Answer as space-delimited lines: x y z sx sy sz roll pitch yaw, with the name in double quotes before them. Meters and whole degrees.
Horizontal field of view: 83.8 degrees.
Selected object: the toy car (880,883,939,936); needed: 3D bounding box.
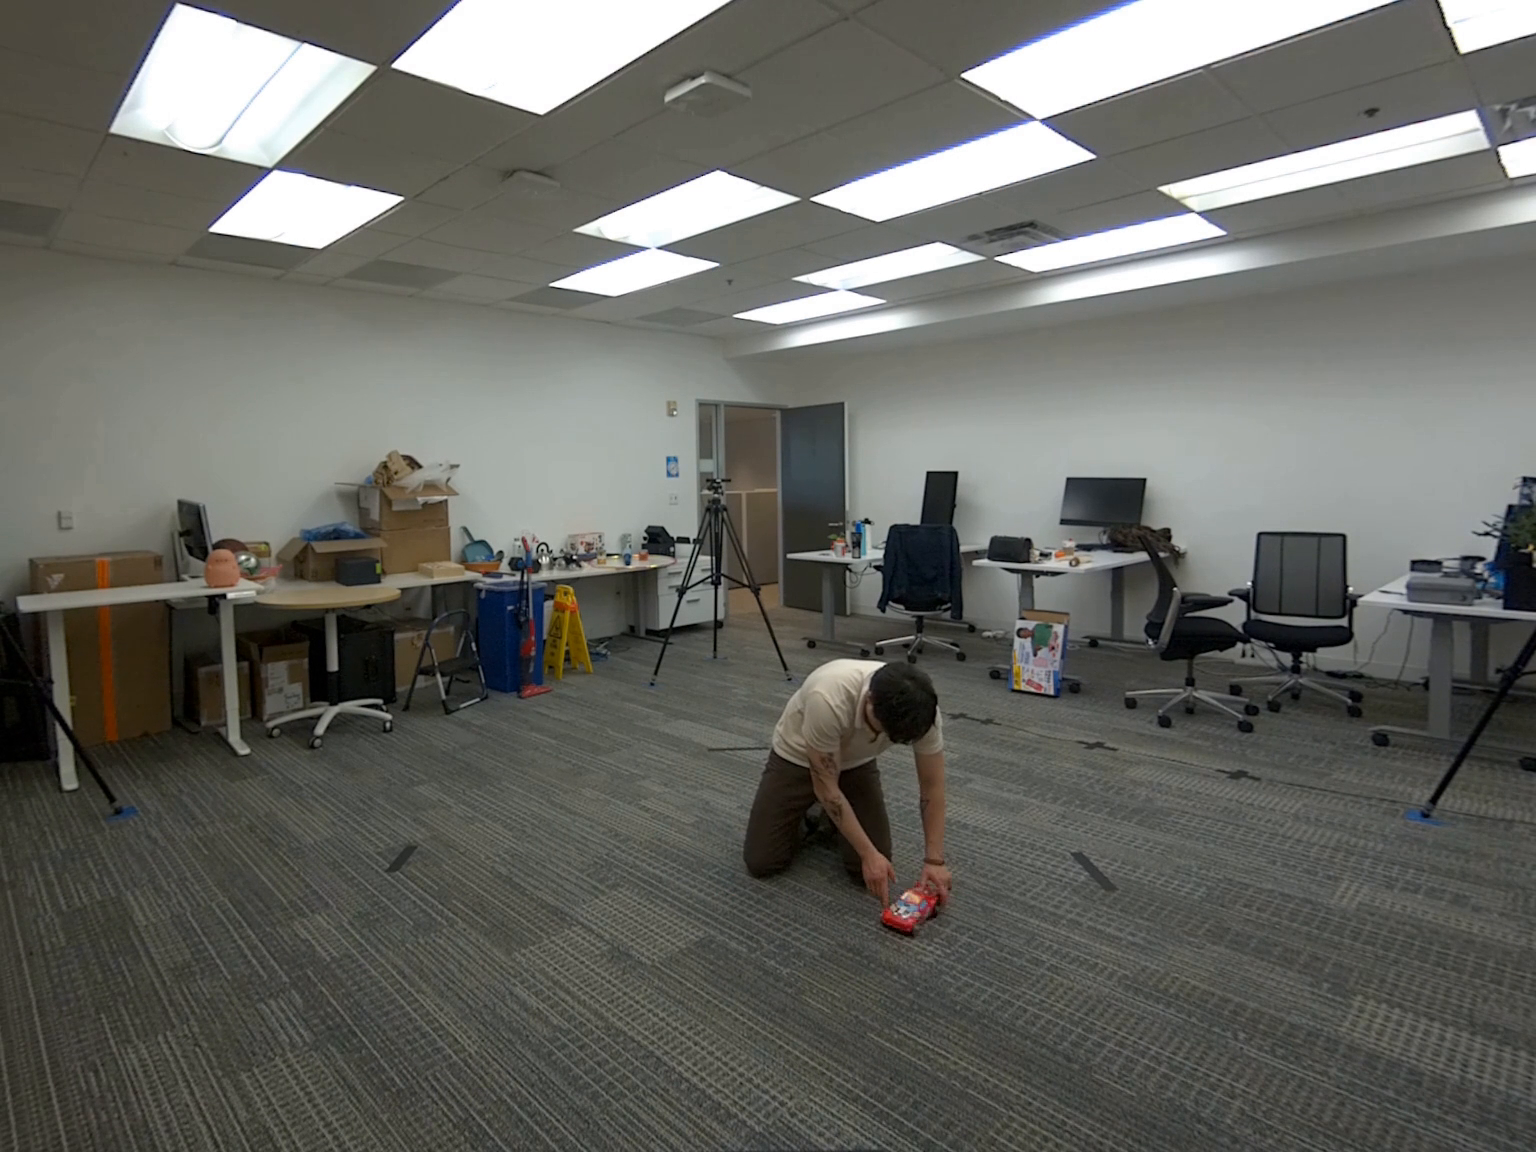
"toy car" 0.463 1.049 2.707 0.134 0.082 0.250 4 17 40
